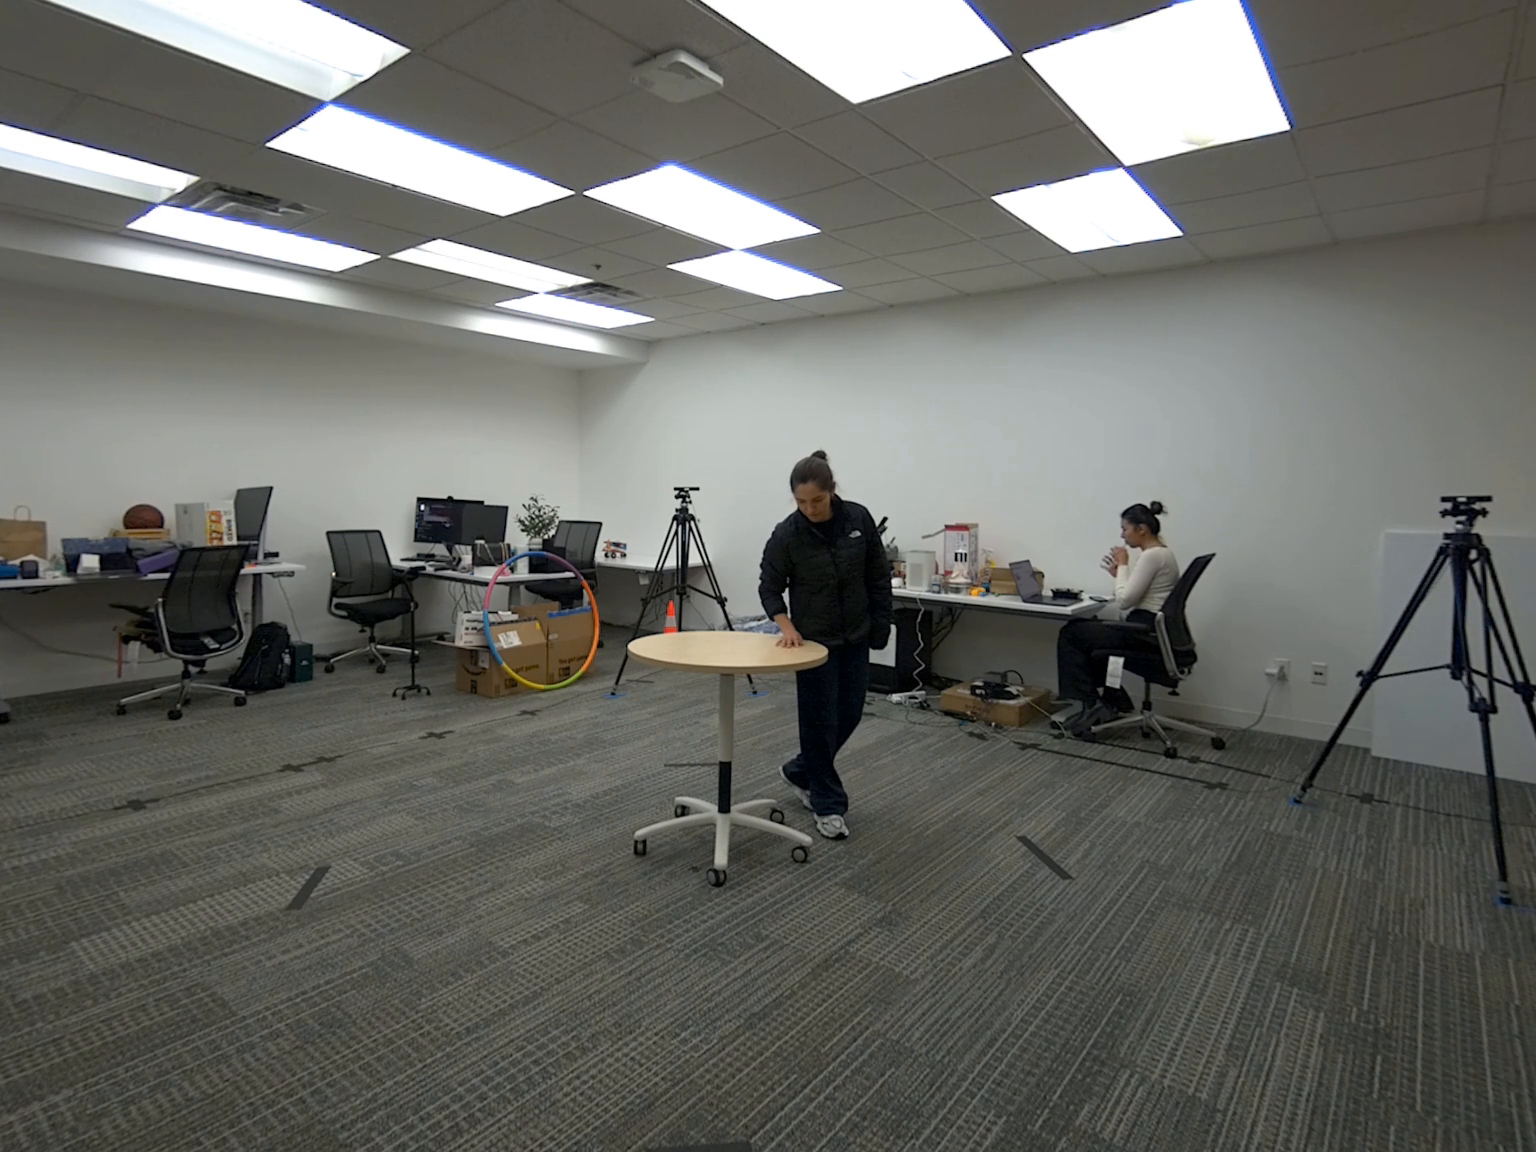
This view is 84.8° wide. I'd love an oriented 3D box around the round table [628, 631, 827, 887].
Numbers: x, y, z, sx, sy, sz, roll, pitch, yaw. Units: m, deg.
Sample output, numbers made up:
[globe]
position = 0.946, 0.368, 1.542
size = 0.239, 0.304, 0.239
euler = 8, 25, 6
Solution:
[round table]
position = -0.140, 0.655, 3.285
size = 0.784, 0.784, 0.789
euler = 1, 4, -2
